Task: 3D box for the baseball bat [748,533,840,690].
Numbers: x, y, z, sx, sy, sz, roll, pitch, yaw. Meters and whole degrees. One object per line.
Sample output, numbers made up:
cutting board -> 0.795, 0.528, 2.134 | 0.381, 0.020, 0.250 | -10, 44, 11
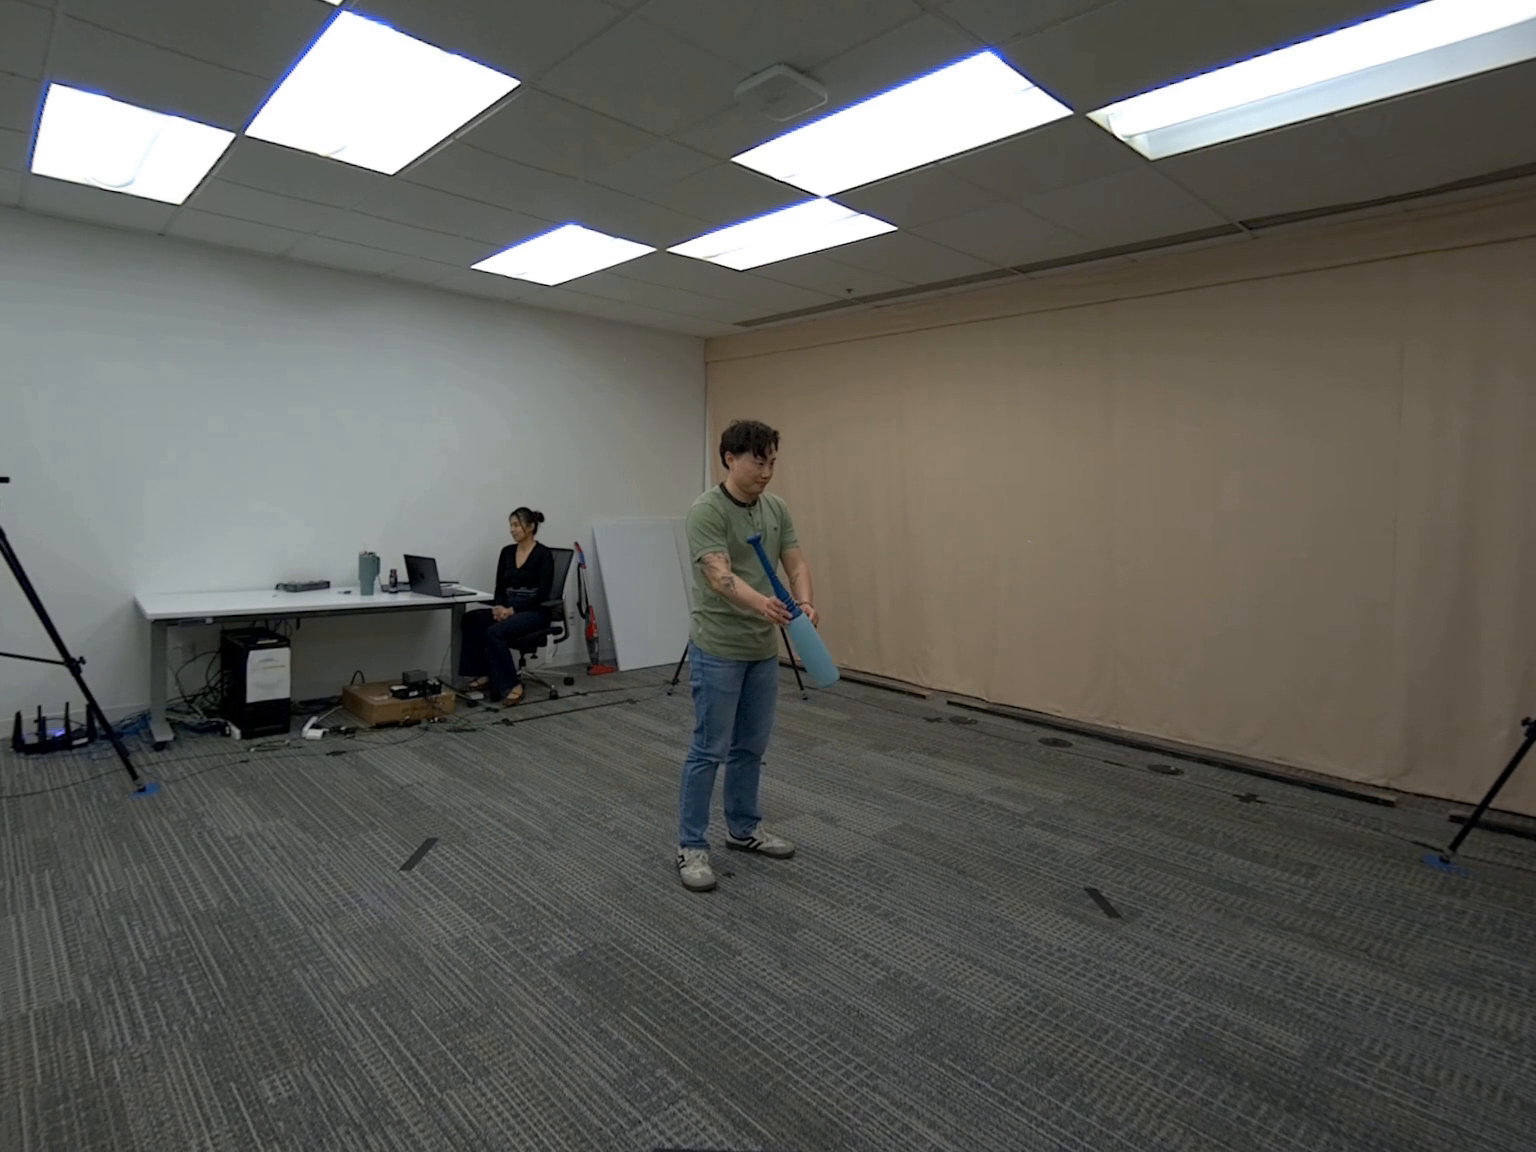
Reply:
baseball bat -> 0.065, 0.111, 2.658 | 0.089, 0.539, 0.089 | -26, 8, 3
